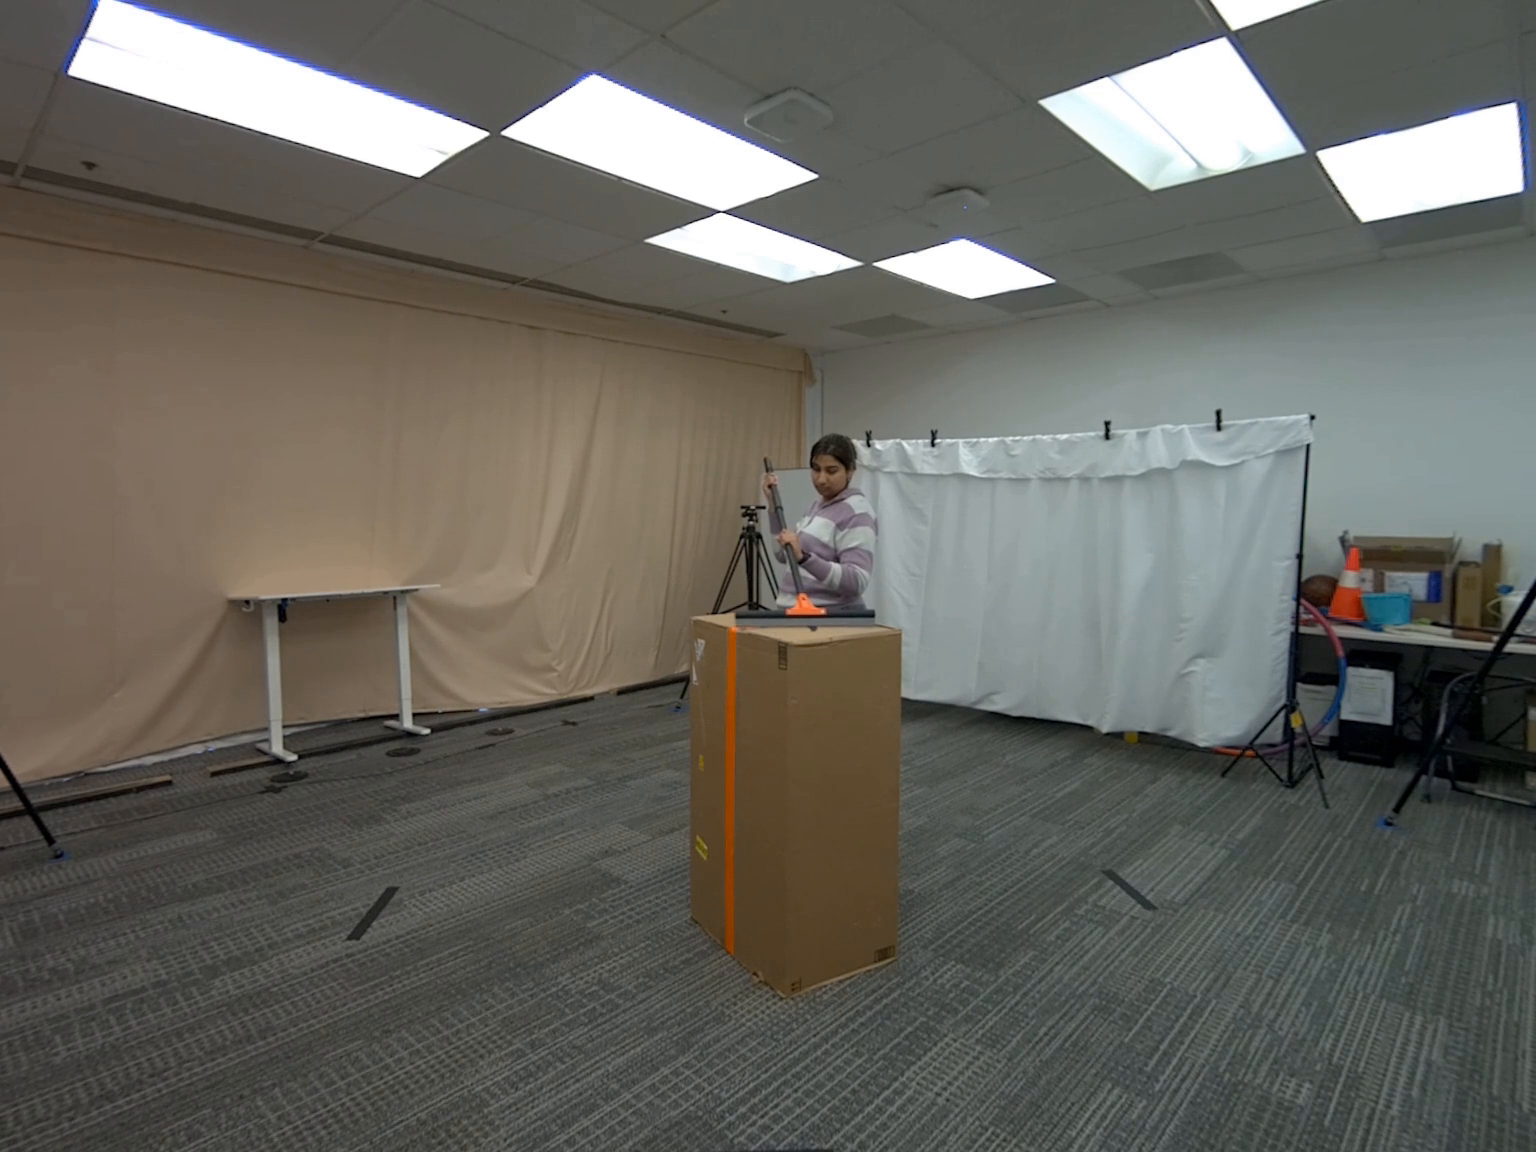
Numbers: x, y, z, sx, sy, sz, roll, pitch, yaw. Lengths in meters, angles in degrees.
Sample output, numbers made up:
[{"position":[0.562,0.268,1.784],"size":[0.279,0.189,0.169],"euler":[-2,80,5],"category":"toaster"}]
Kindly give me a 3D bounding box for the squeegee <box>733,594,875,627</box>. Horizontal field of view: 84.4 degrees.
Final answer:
[{"position":[0.039,-0.213,3.283],"size":[0.437,0.052,1.564],"euler":[-4,28,-2],"category":"squeegee"}]
